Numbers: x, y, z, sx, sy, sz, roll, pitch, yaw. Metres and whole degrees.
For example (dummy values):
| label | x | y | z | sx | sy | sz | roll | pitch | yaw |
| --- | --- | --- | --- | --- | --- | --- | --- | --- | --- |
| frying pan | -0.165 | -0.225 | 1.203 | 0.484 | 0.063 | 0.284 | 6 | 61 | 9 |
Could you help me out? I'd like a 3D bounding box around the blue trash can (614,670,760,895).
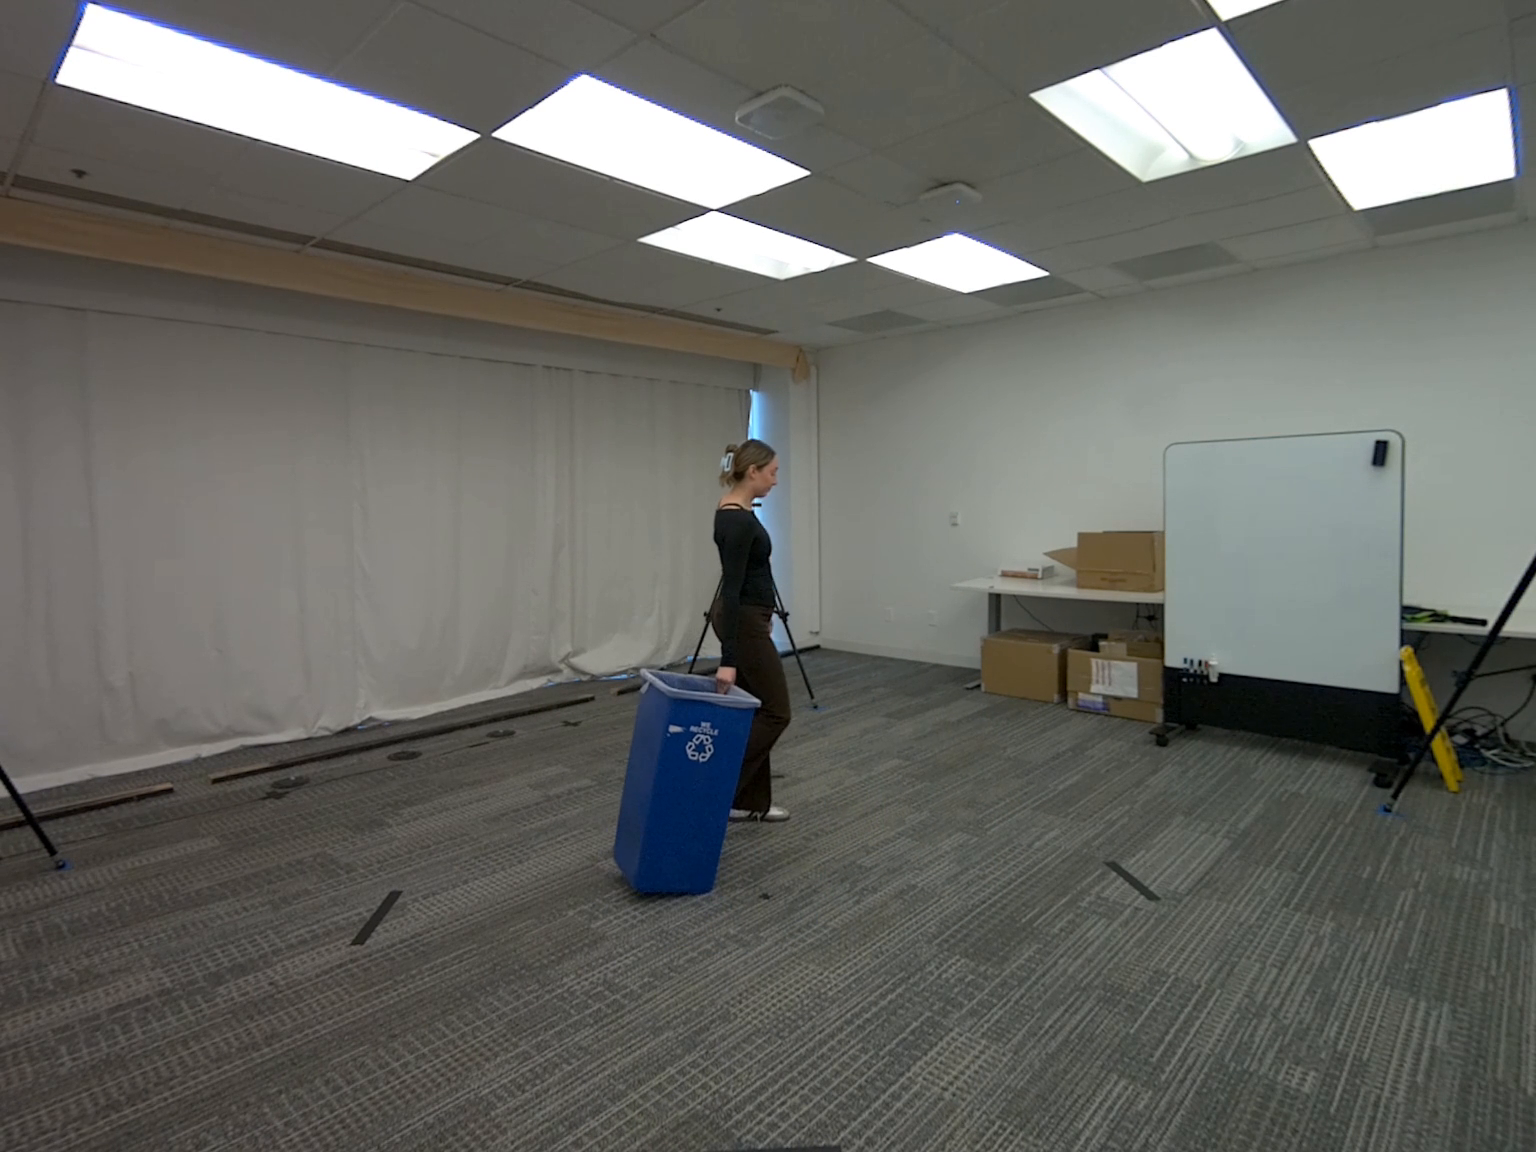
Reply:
| label | x | y | z | sx | sy | sz | roll | pitch | yaw |
| --- | --- | --- | --- | --- | --- | --- | --- | --- | --- |
| blue trash can | -0.323 | 0.750 | 3.110 | 0.364 | 0.713 | 0.388 | 11 | 0 | -25 |
